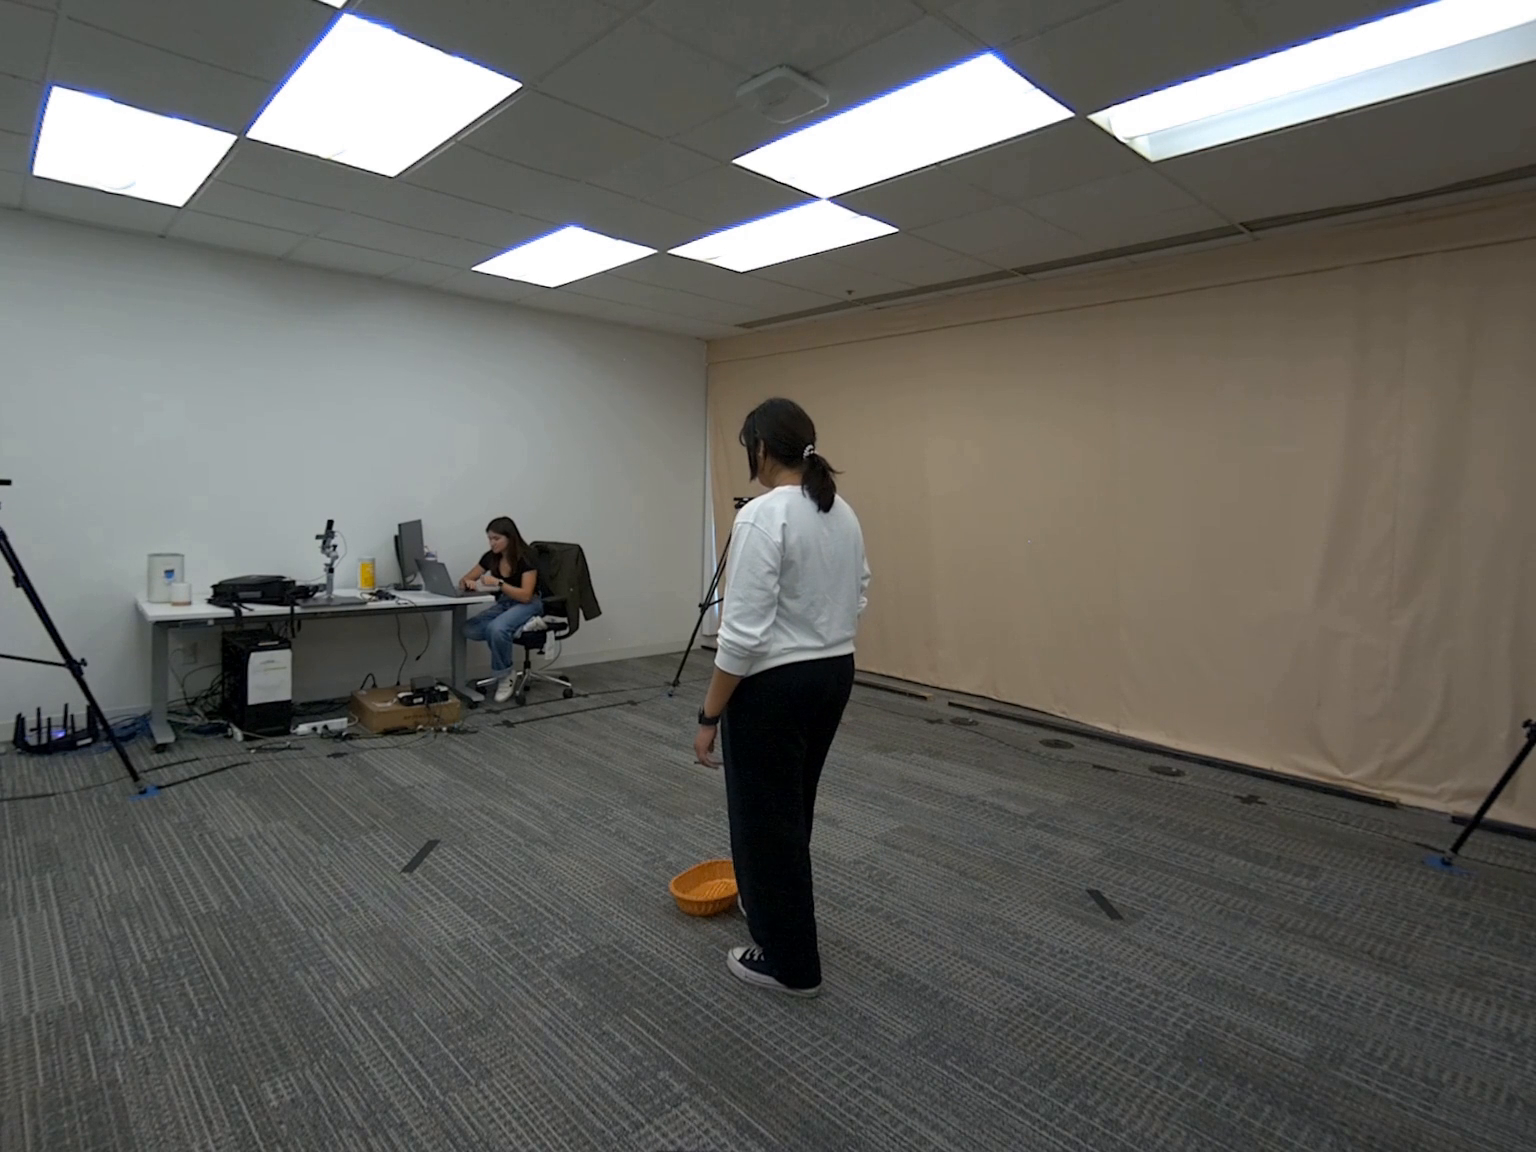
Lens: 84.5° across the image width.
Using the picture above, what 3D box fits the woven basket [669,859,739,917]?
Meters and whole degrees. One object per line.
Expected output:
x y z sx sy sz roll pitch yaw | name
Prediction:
-0.197 1.079 2.923 0.258 0.073 0.343 2 5 36 | woven basket
